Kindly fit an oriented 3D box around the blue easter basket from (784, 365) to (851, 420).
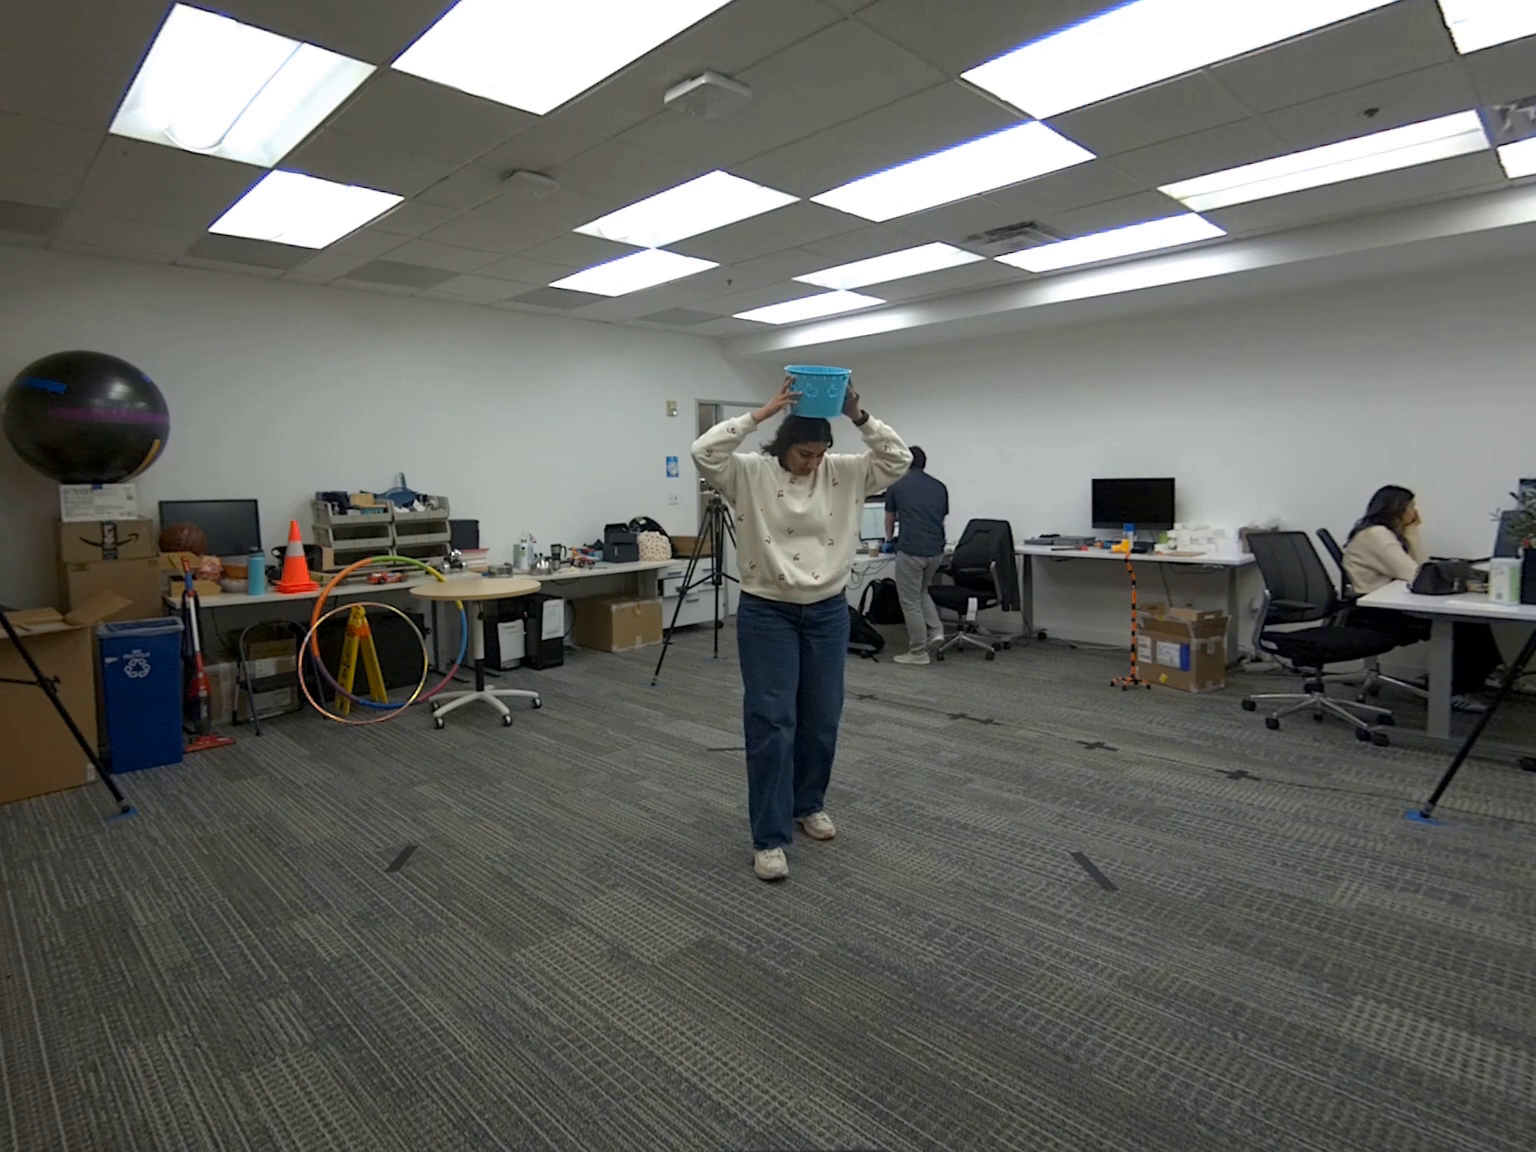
[{"bbox_3d":[0.172,-0.638,2.952,0.243,0.153,0.248,2,22,-2],"label":"blue easter basket"}]
